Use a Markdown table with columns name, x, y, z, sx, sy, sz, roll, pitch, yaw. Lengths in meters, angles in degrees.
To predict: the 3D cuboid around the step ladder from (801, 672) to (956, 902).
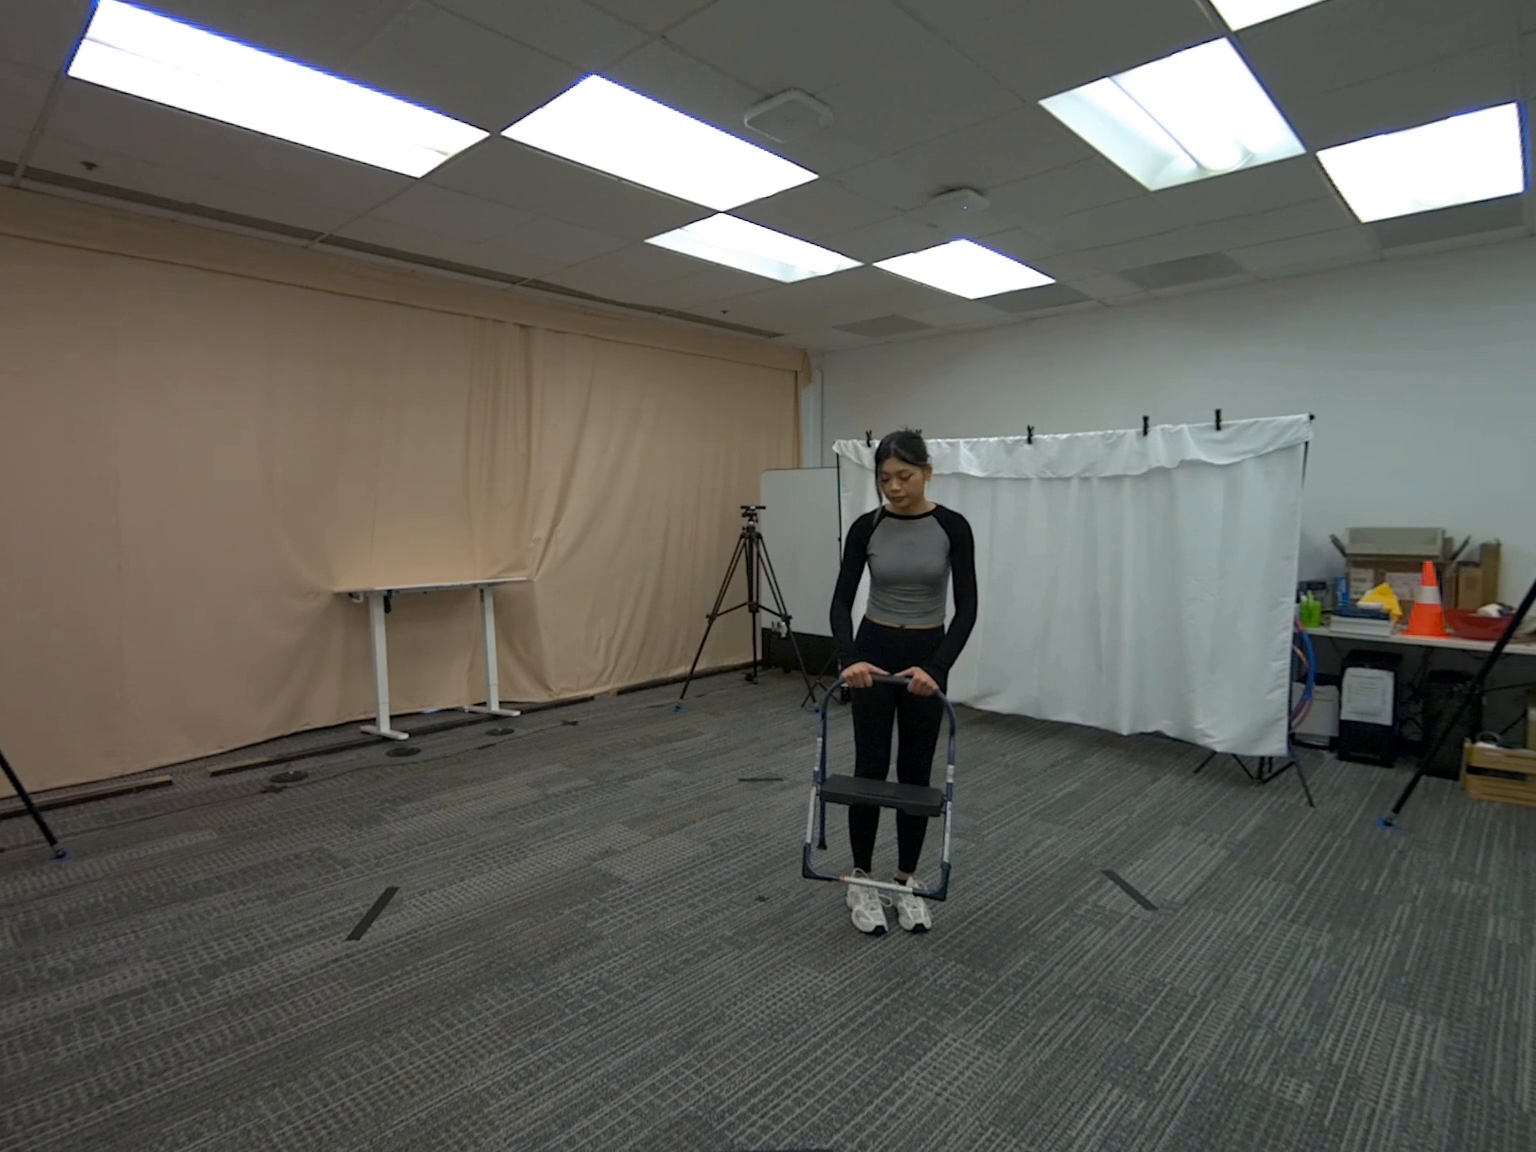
| name | x | y | z | sx | sy | sz | roll | pitch | yaw |
| --- | --- | --- | --- | --- | --- | --- | --- | --- | --- |
| step ladder | 0.358 | 0.609 | 2.587 | 0.438 | 0.607 | 0.343 | 3 | -2 | 15 |
